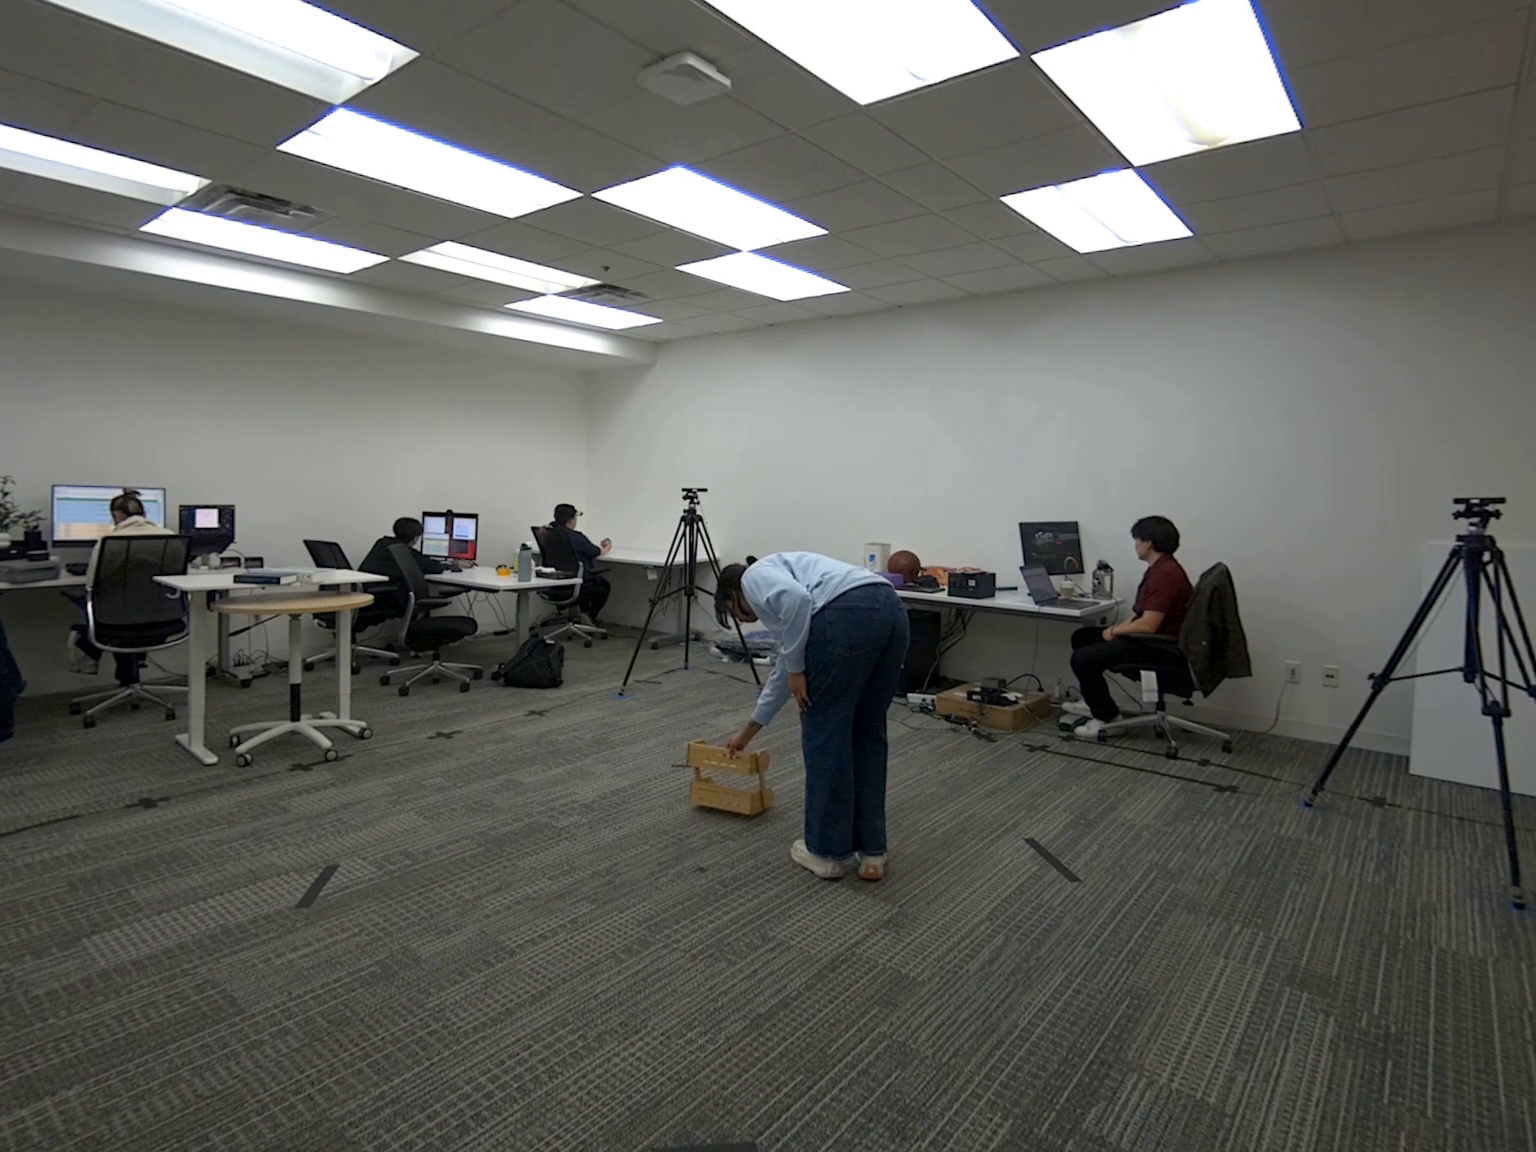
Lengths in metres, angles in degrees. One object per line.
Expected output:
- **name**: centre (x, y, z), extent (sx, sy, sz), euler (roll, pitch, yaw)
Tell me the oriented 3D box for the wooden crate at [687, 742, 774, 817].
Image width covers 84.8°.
- **wooden crate**: centre (-0.165, 0.862, 3.712), extent (0.333, 0.274, 0.293), euler (3, -4, 24)
